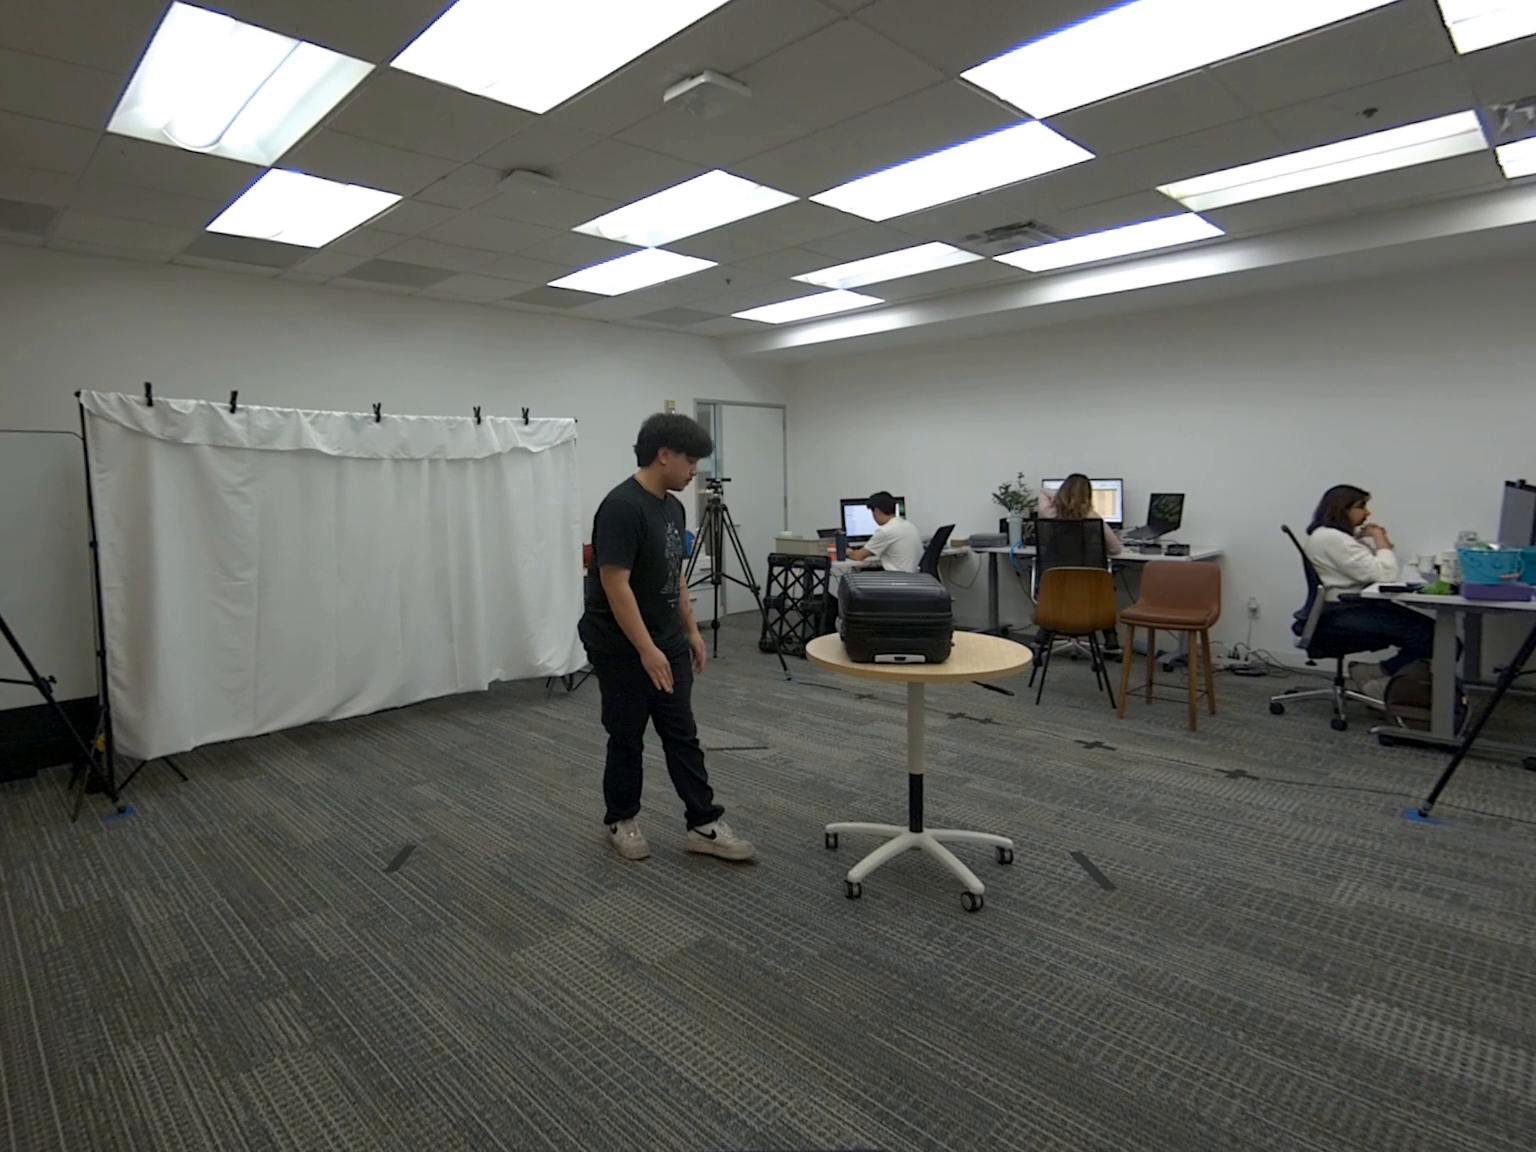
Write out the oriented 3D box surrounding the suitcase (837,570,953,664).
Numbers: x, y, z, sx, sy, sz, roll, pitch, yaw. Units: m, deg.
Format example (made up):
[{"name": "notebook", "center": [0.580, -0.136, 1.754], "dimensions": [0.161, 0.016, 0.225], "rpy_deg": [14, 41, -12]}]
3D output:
[{"name": "suitcase", "center": [0.426, 0.135, 2.972], "dimensions": [0.377, 0.247, 0.550], "rpy_deg": [2, 8, 3]}]
